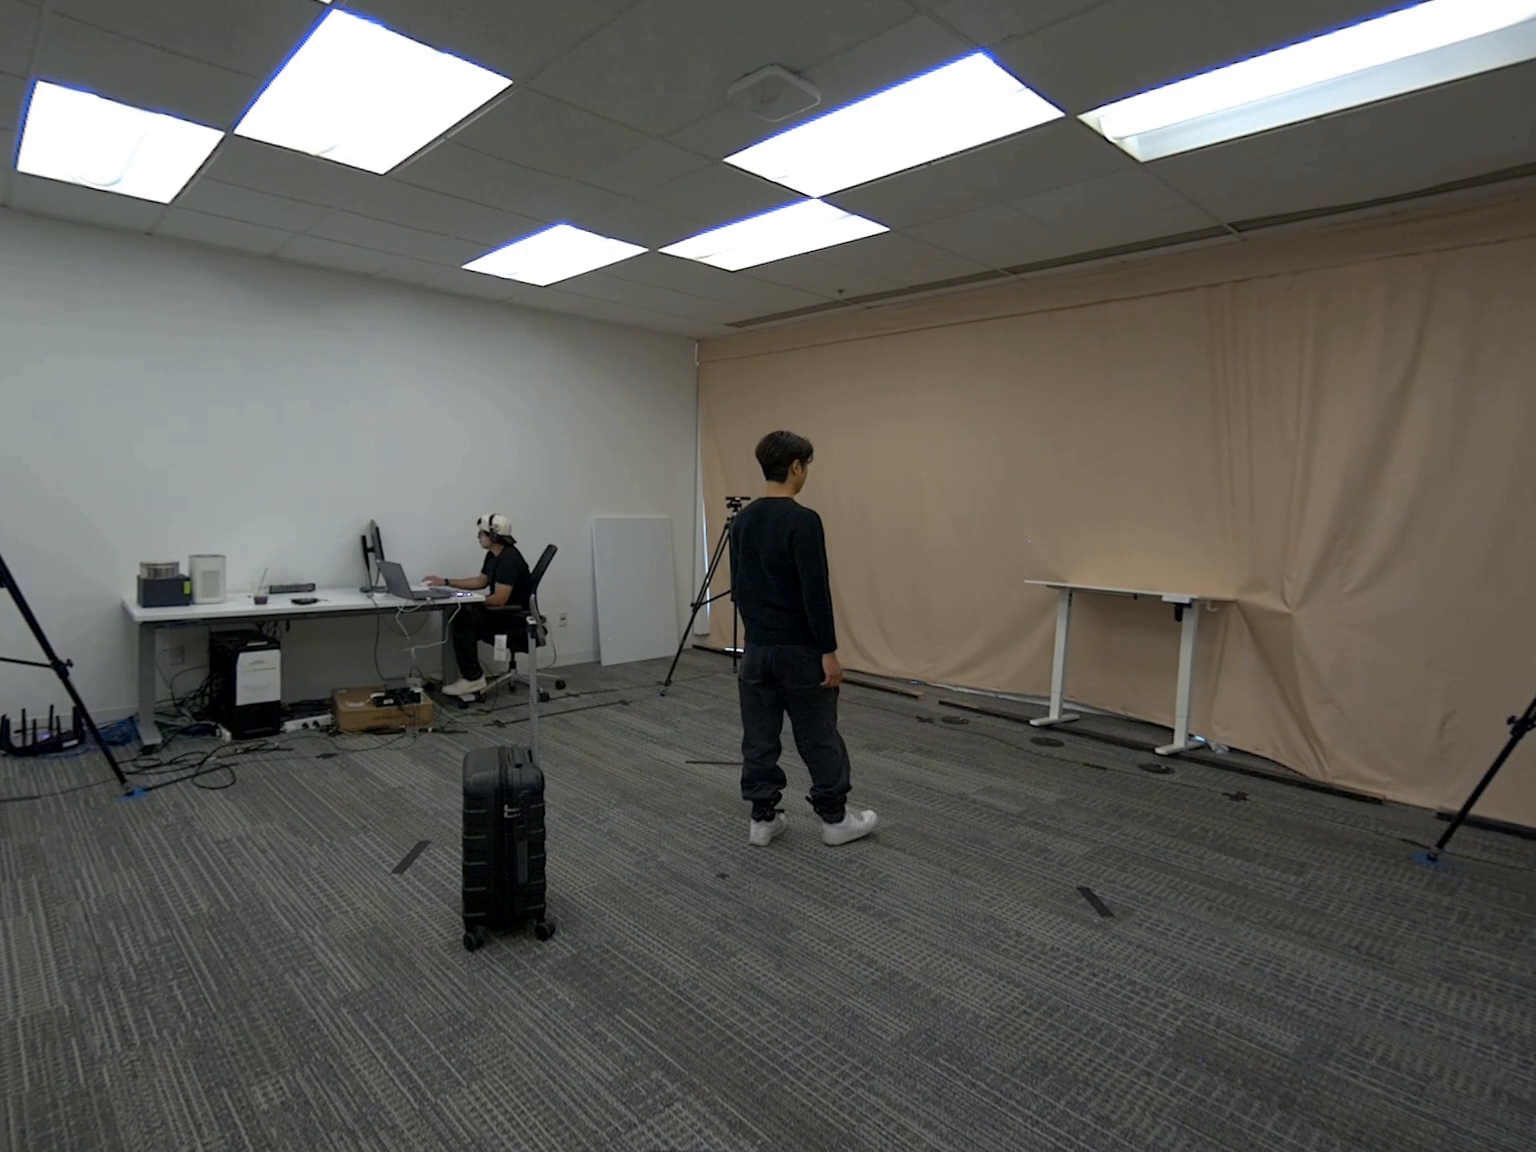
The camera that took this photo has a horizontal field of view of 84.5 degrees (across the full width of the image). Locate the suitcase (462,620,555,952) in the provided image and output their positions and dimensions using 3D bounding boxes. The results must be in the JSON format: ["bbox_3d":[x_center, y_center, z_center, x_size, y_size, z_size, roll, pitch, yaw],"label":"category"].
[{"bbox_3d":[-0.870,0.650,2.722,0.254,0.976,0.389,-2,3,-16],"label":"suitcase"}]
